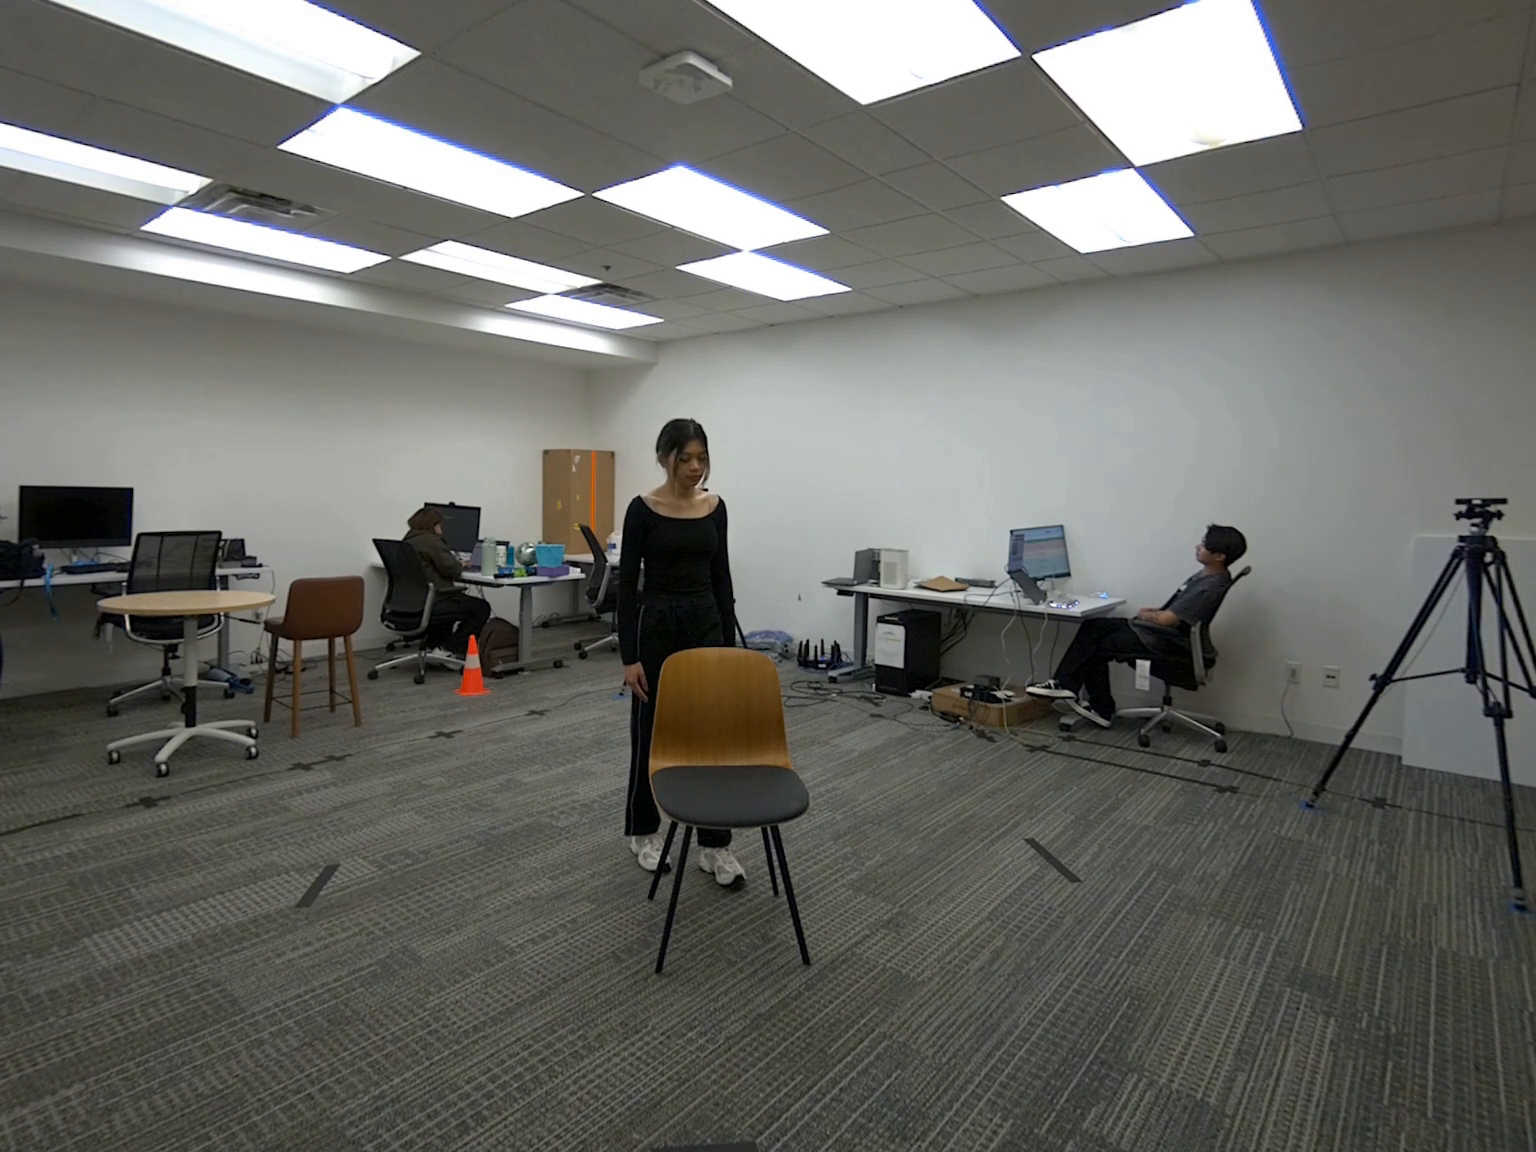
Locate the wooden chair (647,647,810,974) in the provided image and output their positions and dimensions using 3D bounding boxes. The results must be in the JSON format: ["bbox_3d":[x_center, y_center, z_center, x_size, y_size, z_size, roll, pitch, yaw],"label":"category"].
[{"bbox_3d":[-0.128,0.689,2.645,0.473,0.879,0.528,2,-1,-10],"label":"wooden chair"}]
